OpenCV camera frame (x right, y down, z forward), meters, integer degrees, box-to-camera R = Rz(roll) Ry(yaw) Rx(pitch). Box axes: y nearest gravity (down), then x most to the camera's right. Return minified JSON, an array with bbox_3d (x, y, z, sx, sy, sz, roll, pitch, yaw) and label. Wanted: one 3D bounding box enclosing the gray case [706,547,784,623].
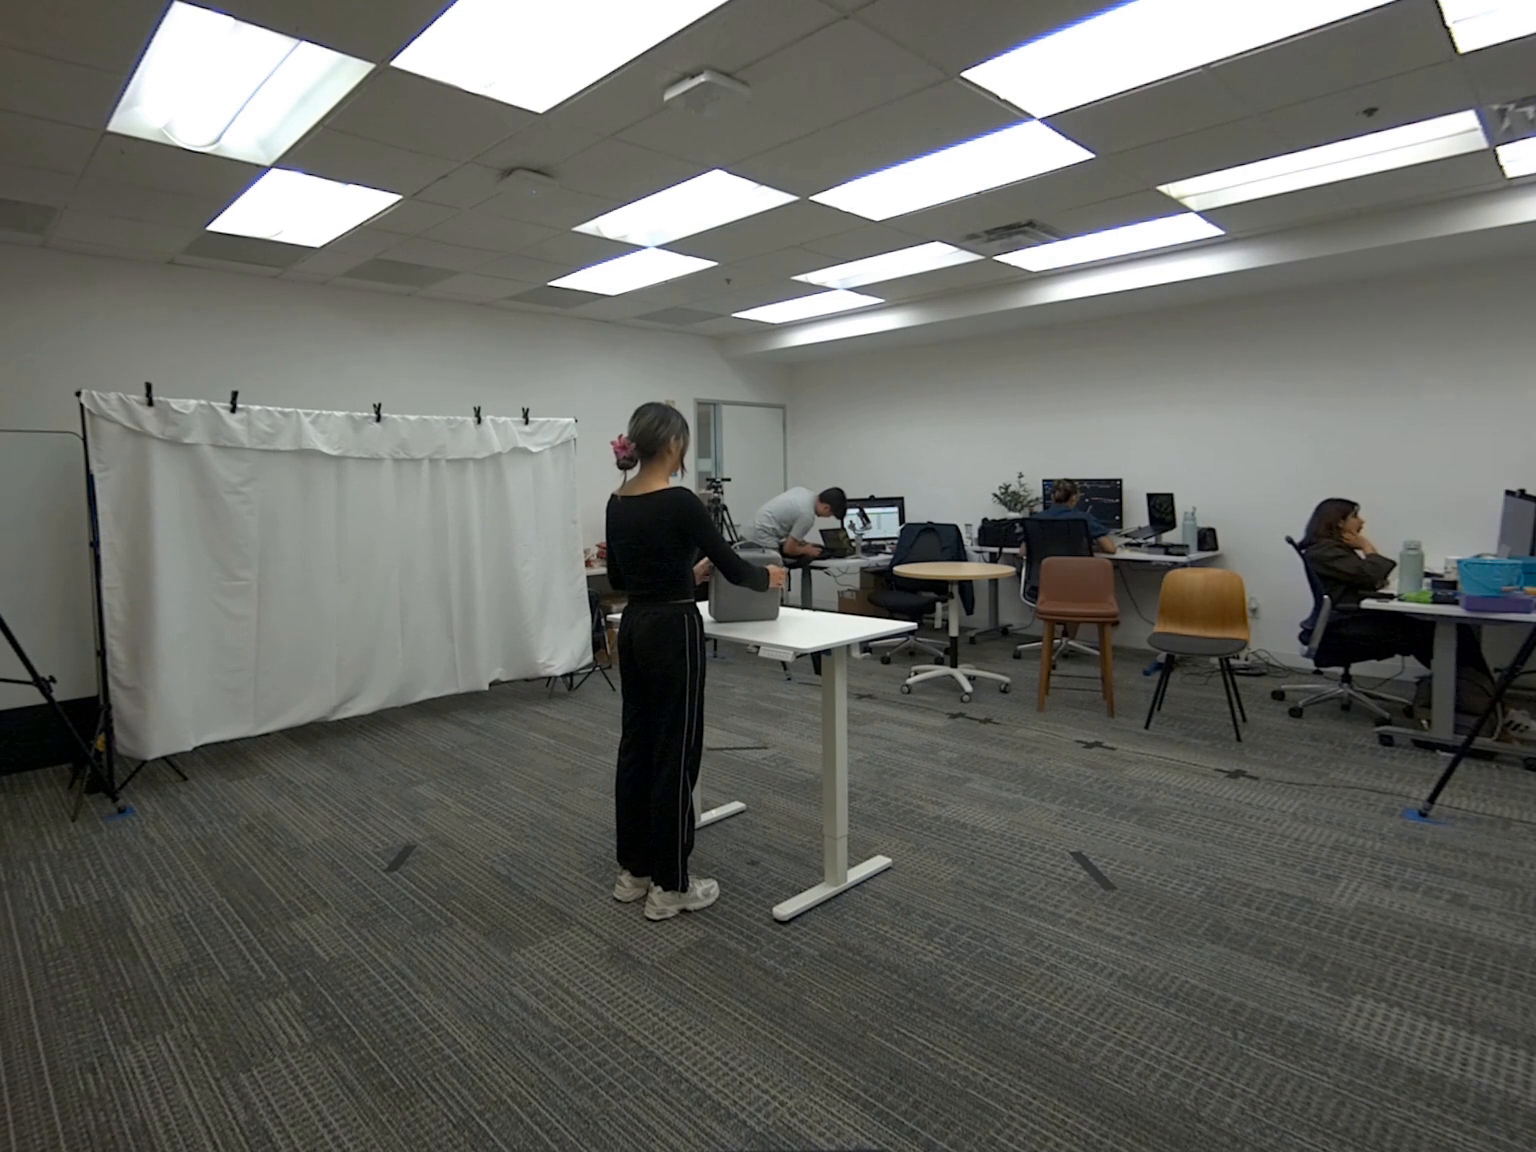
[{"bbox_3d":[-0.076,0.031,3.078,0.253,0.258,0.107,-1,11,-14],"label":"gray case"}]
